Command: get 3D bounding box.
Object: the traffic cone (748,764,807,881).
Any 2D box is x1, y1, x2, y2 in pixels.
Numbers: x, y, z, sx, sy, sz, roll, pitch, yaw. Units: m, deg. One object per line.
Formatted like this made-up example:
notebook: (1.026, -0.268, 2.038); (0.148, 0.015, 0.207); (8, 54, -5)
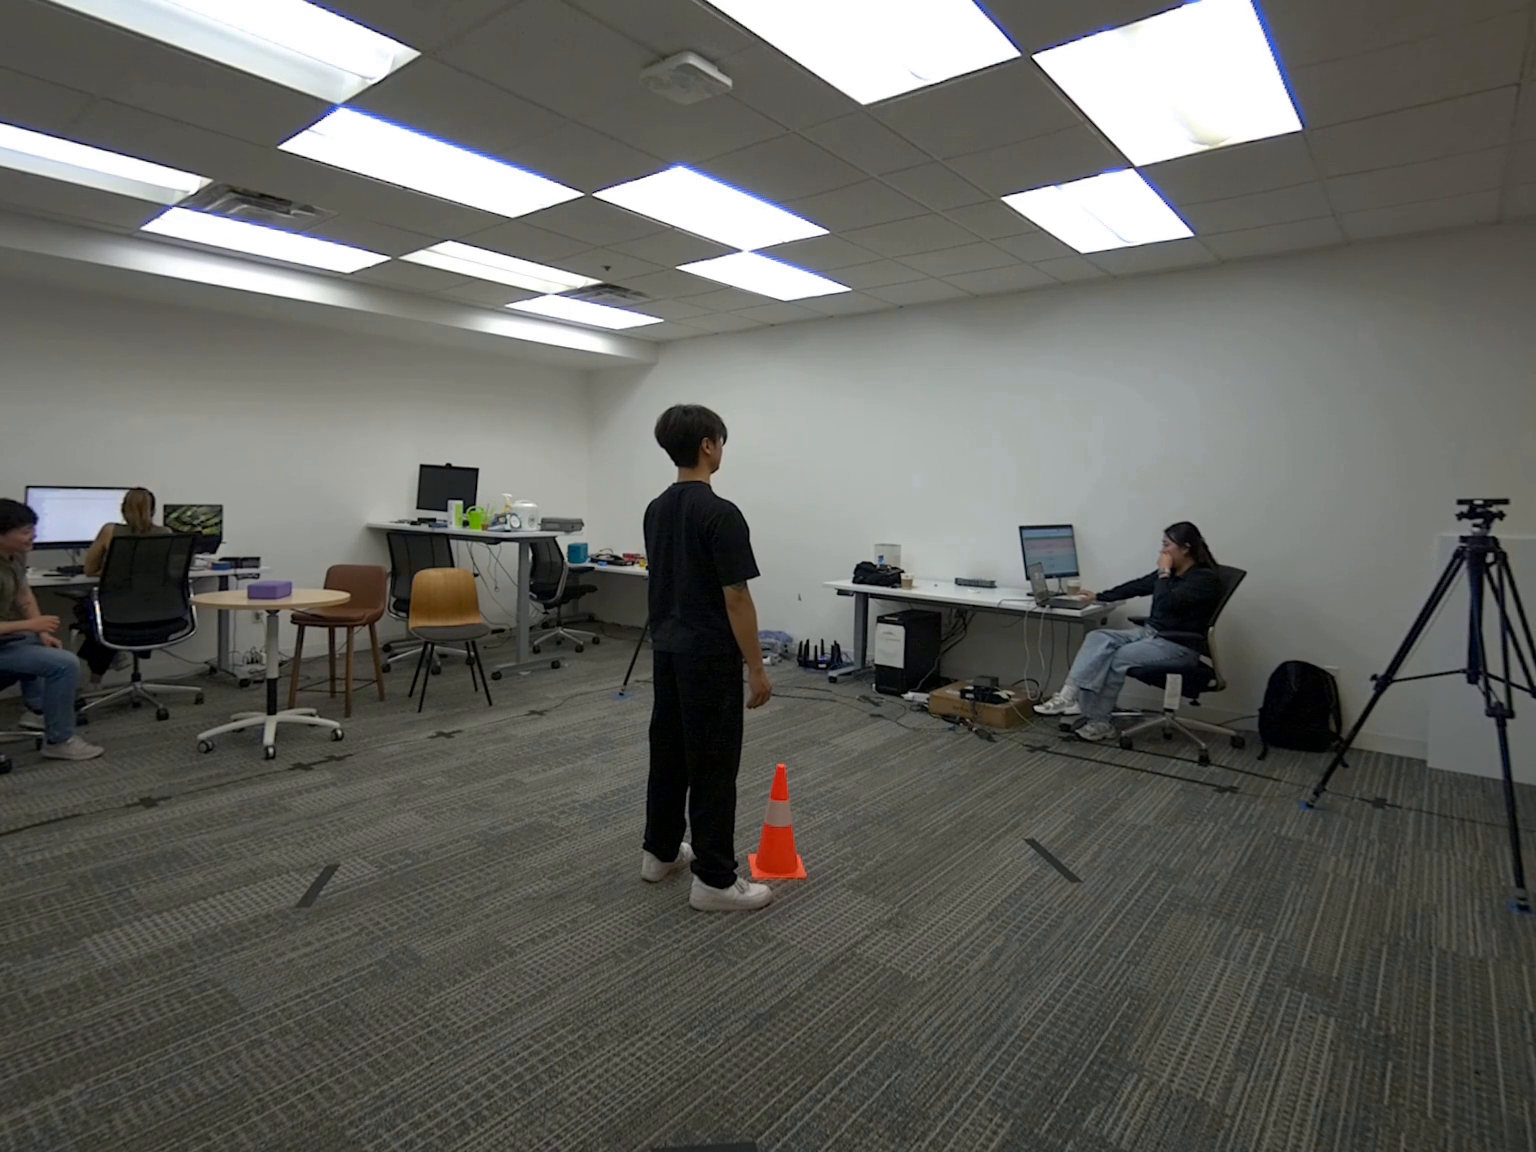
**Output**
traffic cone: (0.031, 0.886, 3.150); (0.203, 0.383, 0.206); (3, 1, -4)
